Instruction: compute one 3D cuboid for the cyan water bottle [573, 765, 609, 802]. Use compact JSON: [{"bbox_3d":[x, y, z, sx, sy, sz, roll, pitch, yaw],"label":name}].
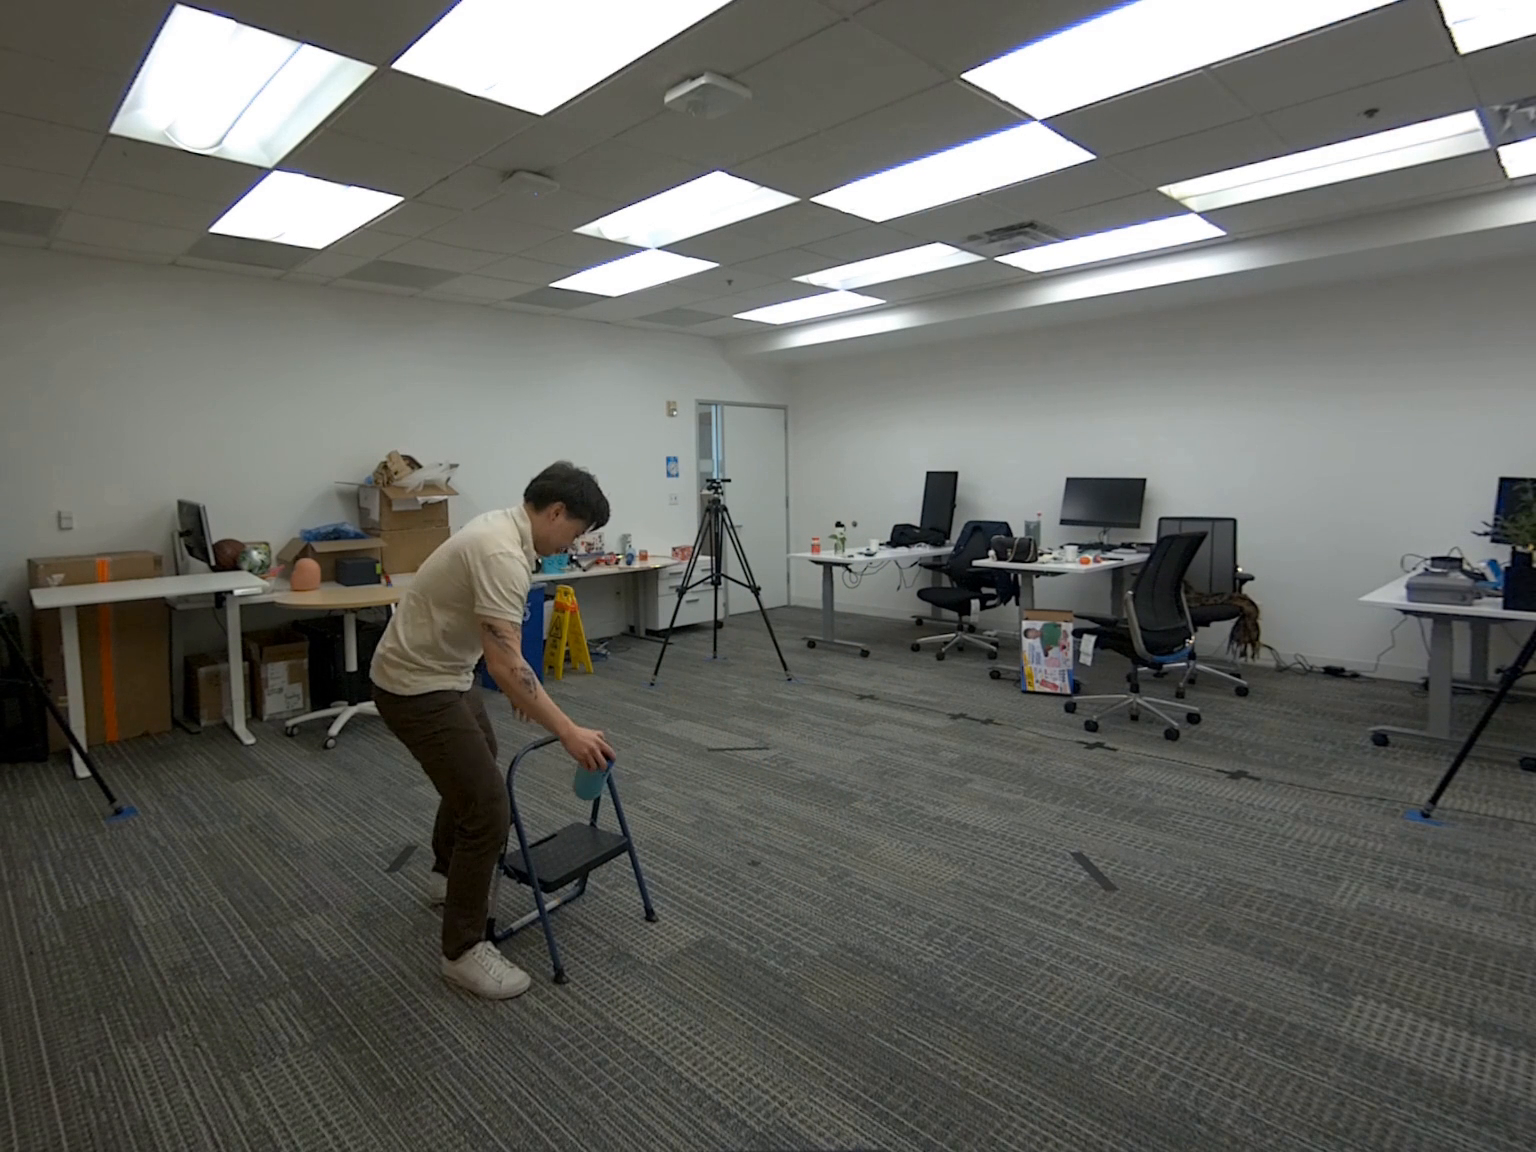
[{"bbox_3d":[-0.483,0.522,2.340,0.090,0.095,0.280,-2,-33,-21],"label":"cyan water bottle"}]
